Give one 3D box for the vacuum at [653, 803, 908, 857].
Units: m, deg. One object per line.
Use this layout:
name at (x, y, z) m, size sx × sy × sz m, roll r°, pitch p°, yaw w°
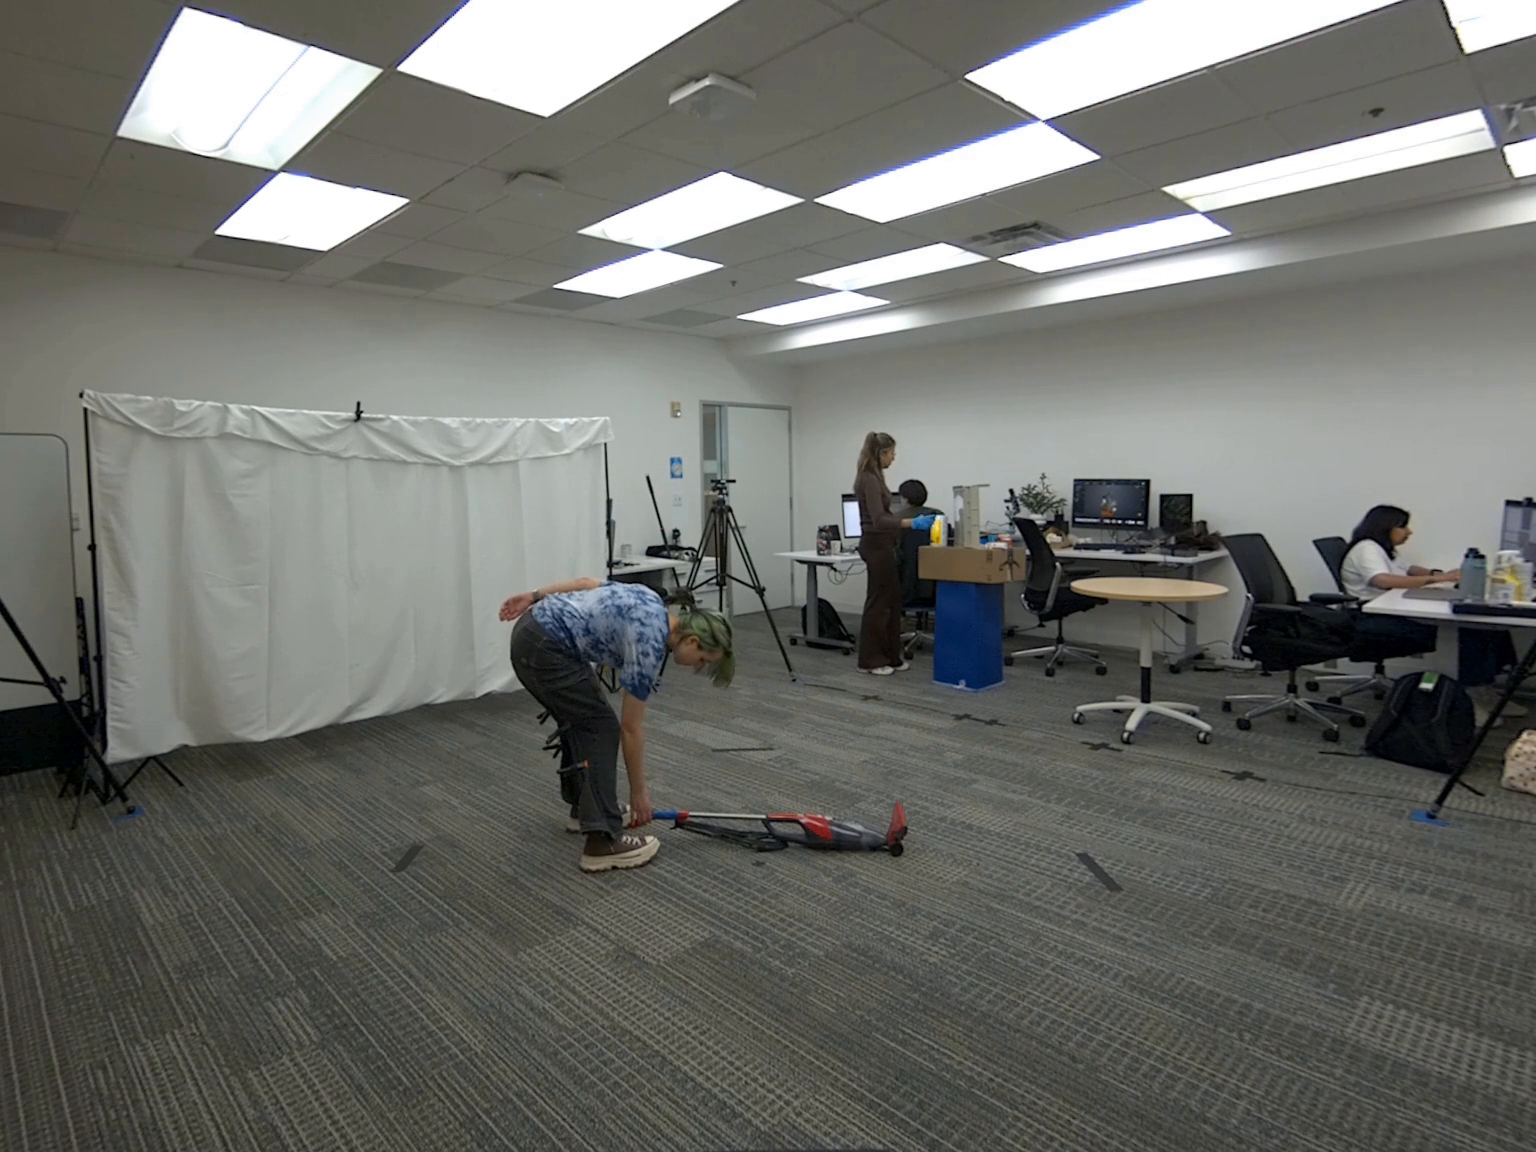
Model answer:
vacuum at (-0.021, 0.955, 3.252) m, size 1.055 × 0.143 × 0.253 m, roll -2°, pitch 8°, yaw 6°
